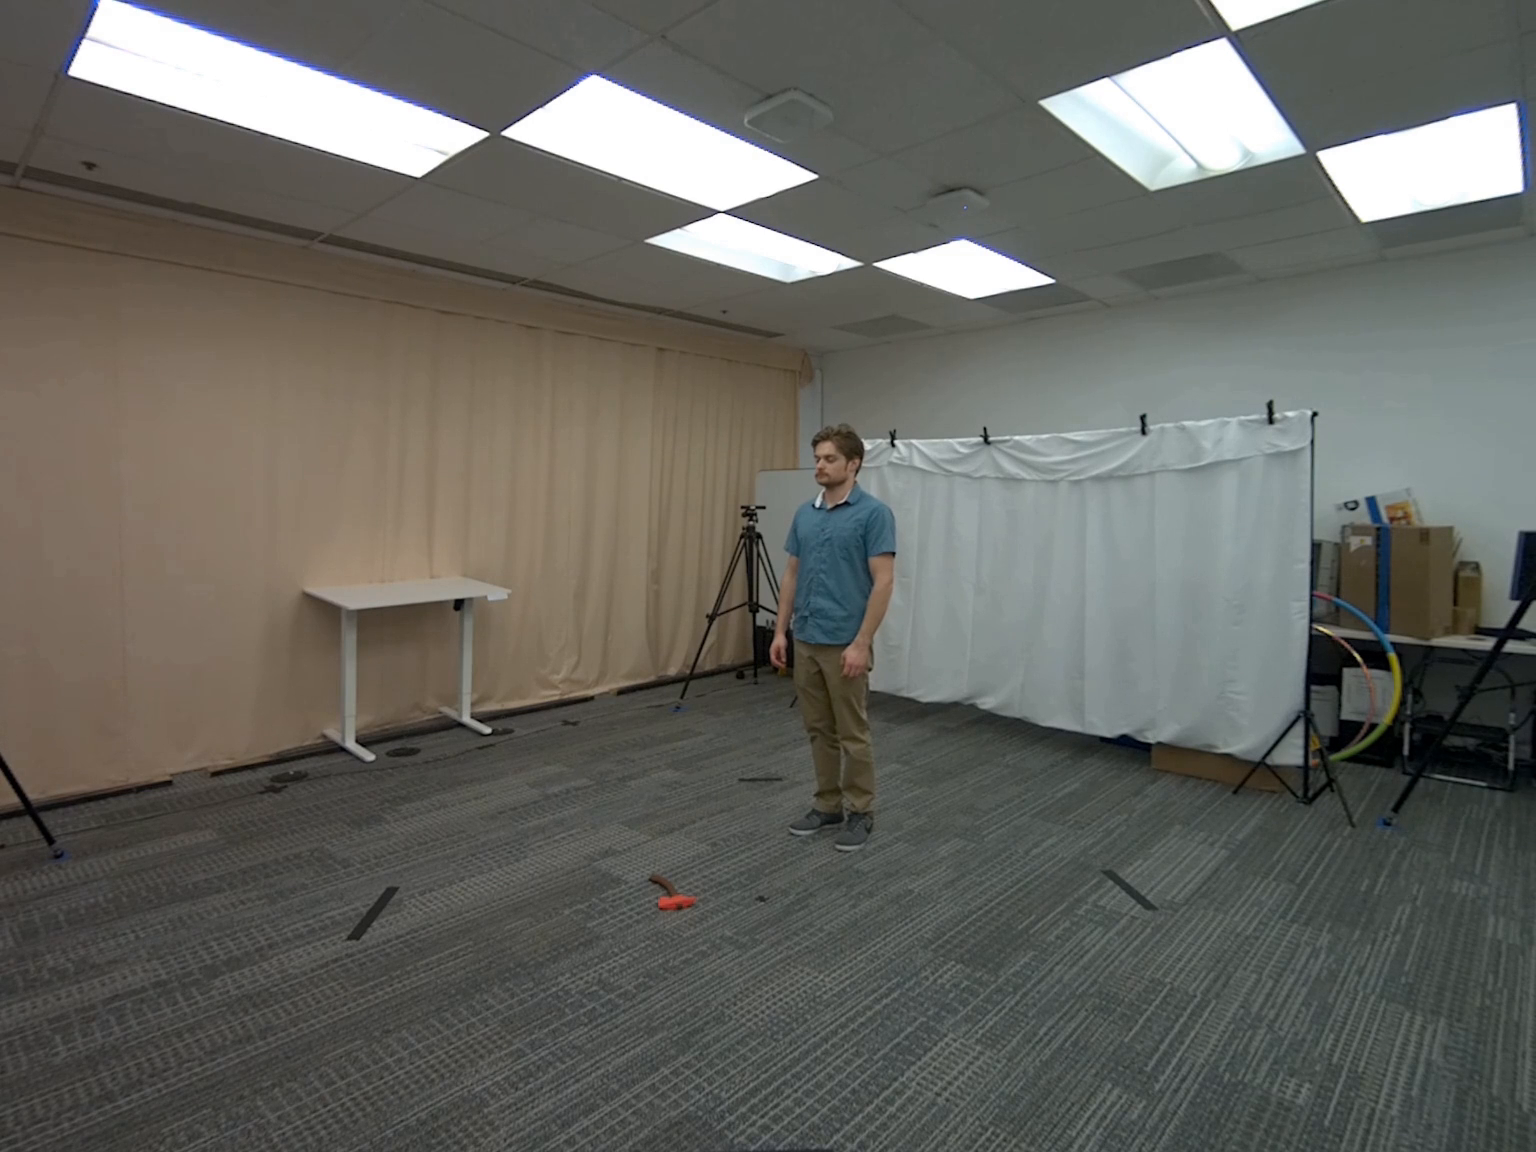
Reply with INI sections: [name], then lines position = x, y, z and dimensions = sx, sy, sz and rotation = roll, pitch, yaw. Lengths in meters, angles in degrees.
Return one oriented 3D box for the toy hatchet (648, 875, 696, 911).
[toy hatchet]
position = -0.376, 1.134, 3.007
dimensions = 0.127, 0.029, 0.279
rotation = -8, 7, -37
